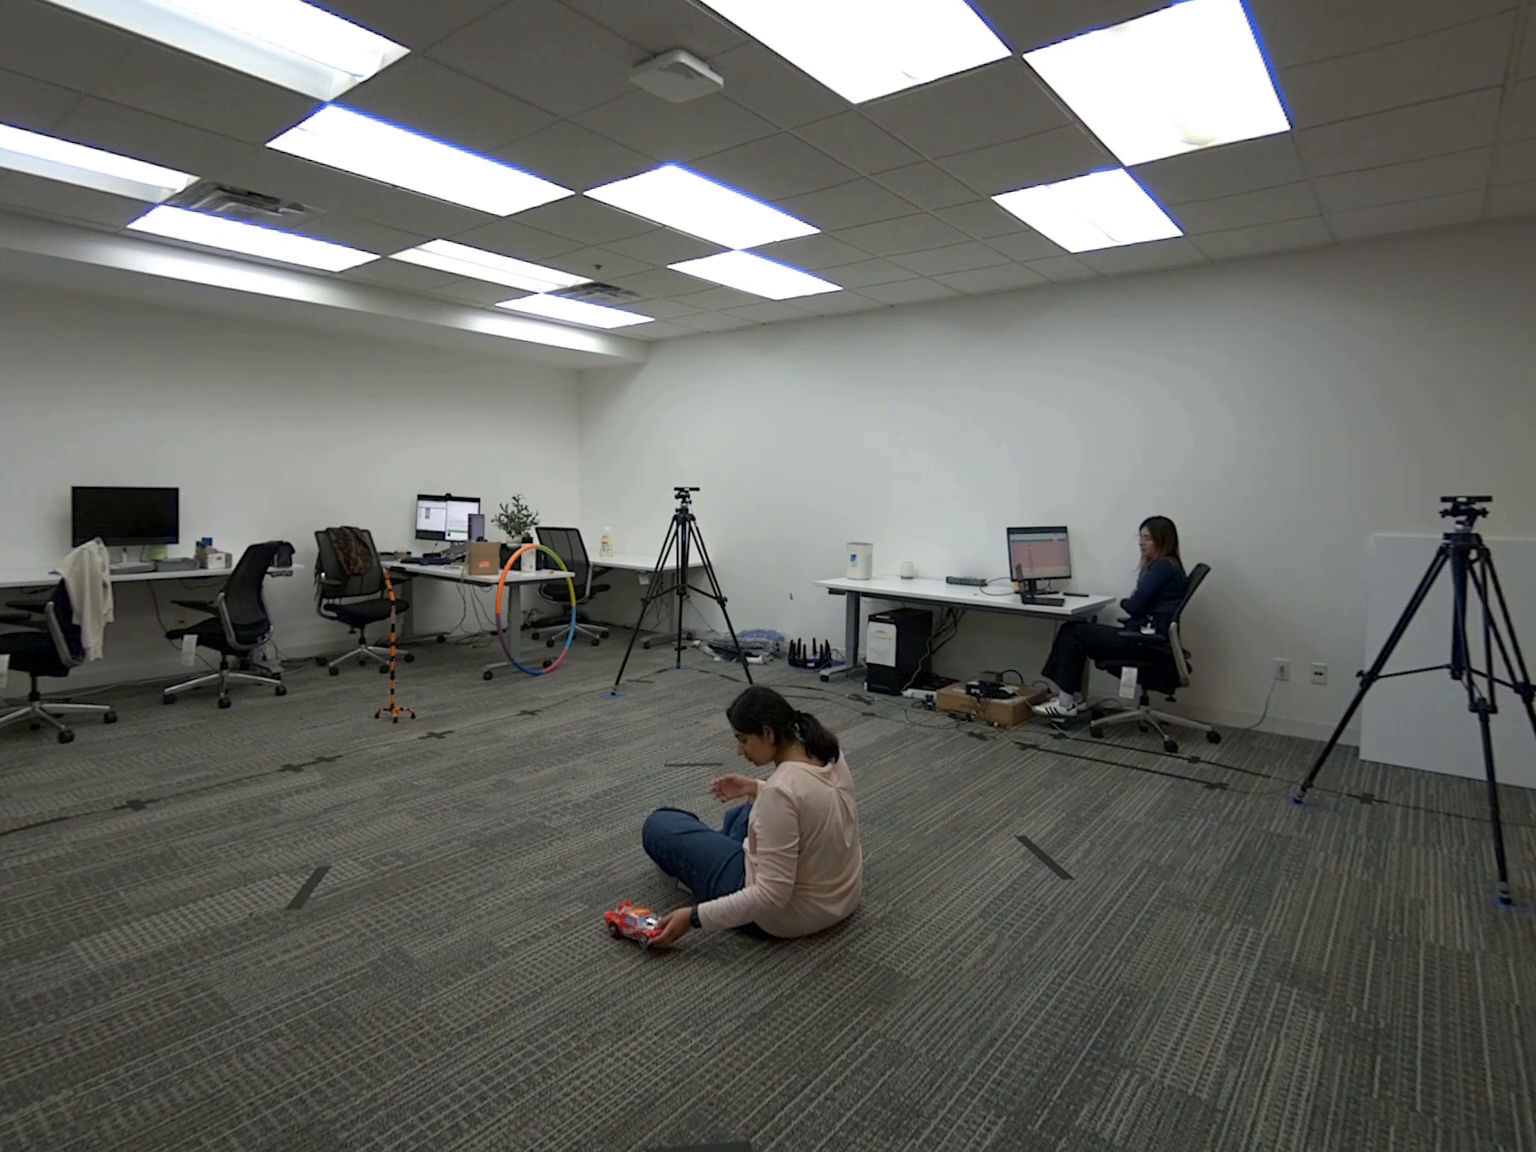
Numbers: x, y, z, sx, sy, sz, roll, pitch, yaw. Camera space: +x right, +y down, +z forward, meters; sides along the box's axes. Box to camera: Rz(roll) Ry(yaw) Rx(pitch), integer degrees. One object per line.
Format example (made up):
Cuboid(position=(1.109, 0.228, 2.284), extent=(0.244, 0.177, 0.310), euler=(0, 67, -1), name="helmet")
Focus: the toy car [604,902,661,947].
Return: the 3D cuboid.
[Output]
Cuboid(position=(-0.416, 1.073, 2.616), extent=(0.126, 0.083, 0.264), euler=(-3, 9, -44), name="toy car")
